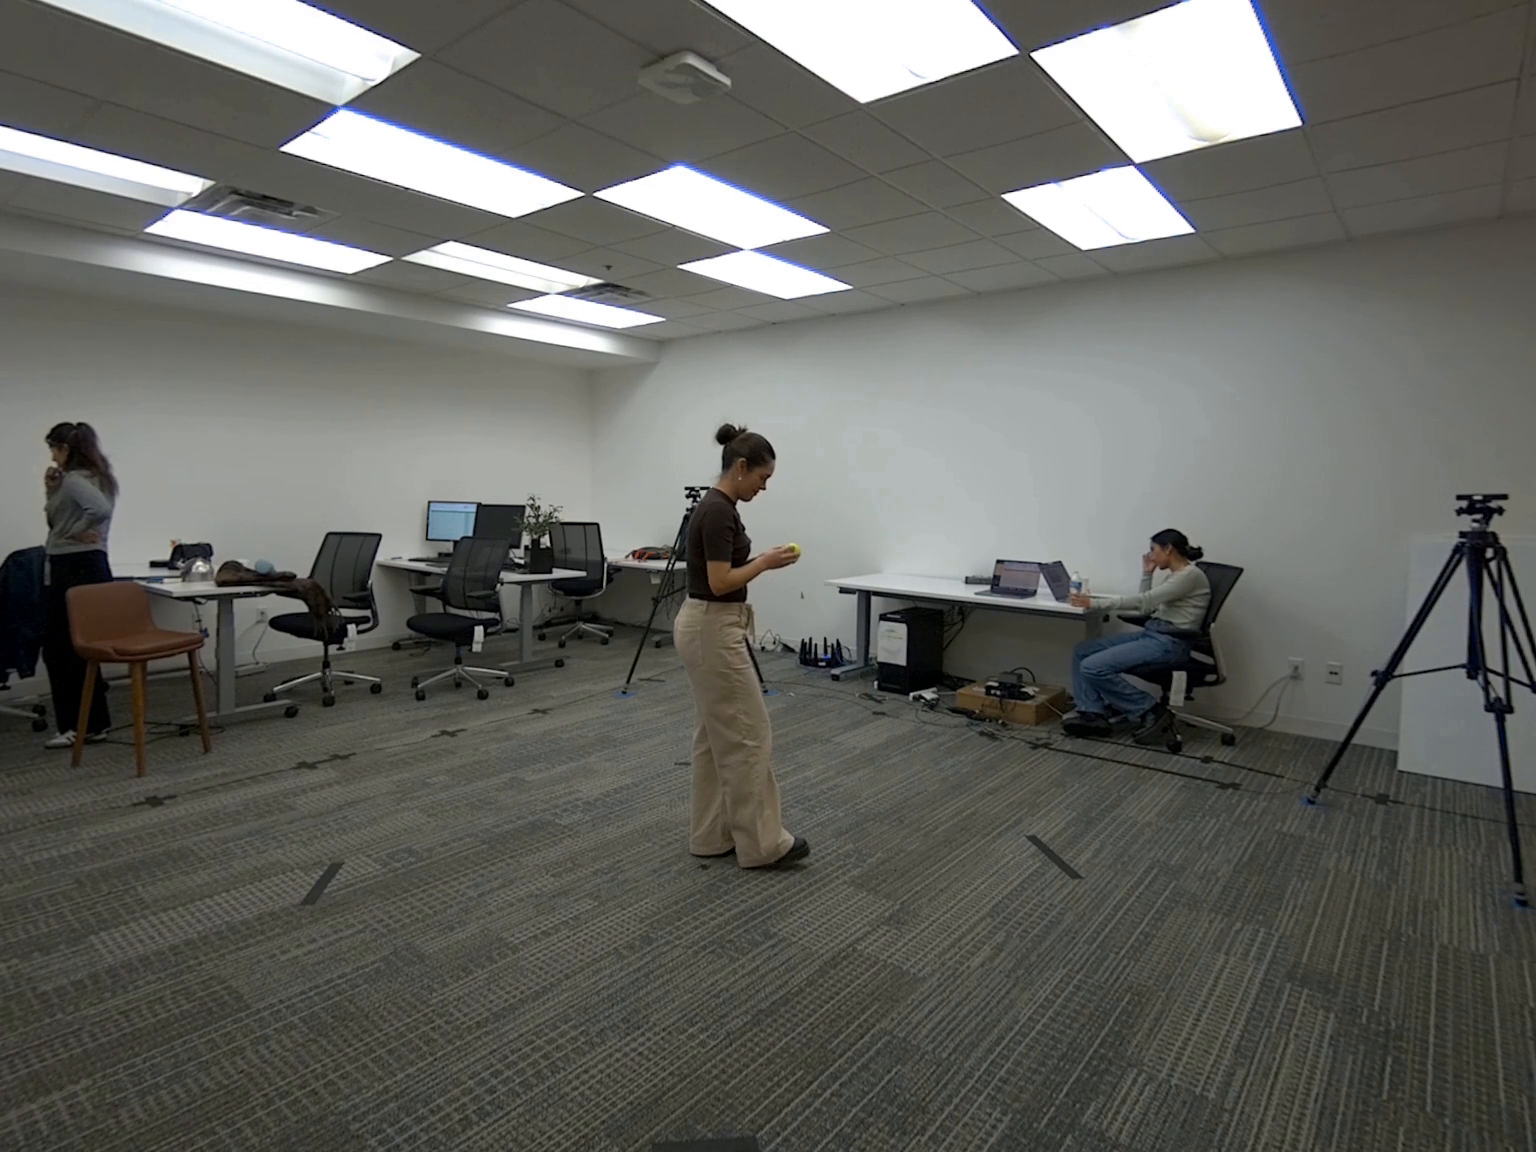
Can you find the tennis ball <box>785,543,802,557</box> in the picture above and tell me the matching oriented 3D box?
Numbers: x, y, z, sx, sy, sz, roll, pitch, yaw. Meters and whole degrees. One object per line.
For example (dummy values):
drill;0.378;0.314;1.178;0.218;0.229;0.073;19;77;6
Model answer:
tennis ball;0.081;-0.089;3.173;0.066;0.066;0.067;1;4;-2
